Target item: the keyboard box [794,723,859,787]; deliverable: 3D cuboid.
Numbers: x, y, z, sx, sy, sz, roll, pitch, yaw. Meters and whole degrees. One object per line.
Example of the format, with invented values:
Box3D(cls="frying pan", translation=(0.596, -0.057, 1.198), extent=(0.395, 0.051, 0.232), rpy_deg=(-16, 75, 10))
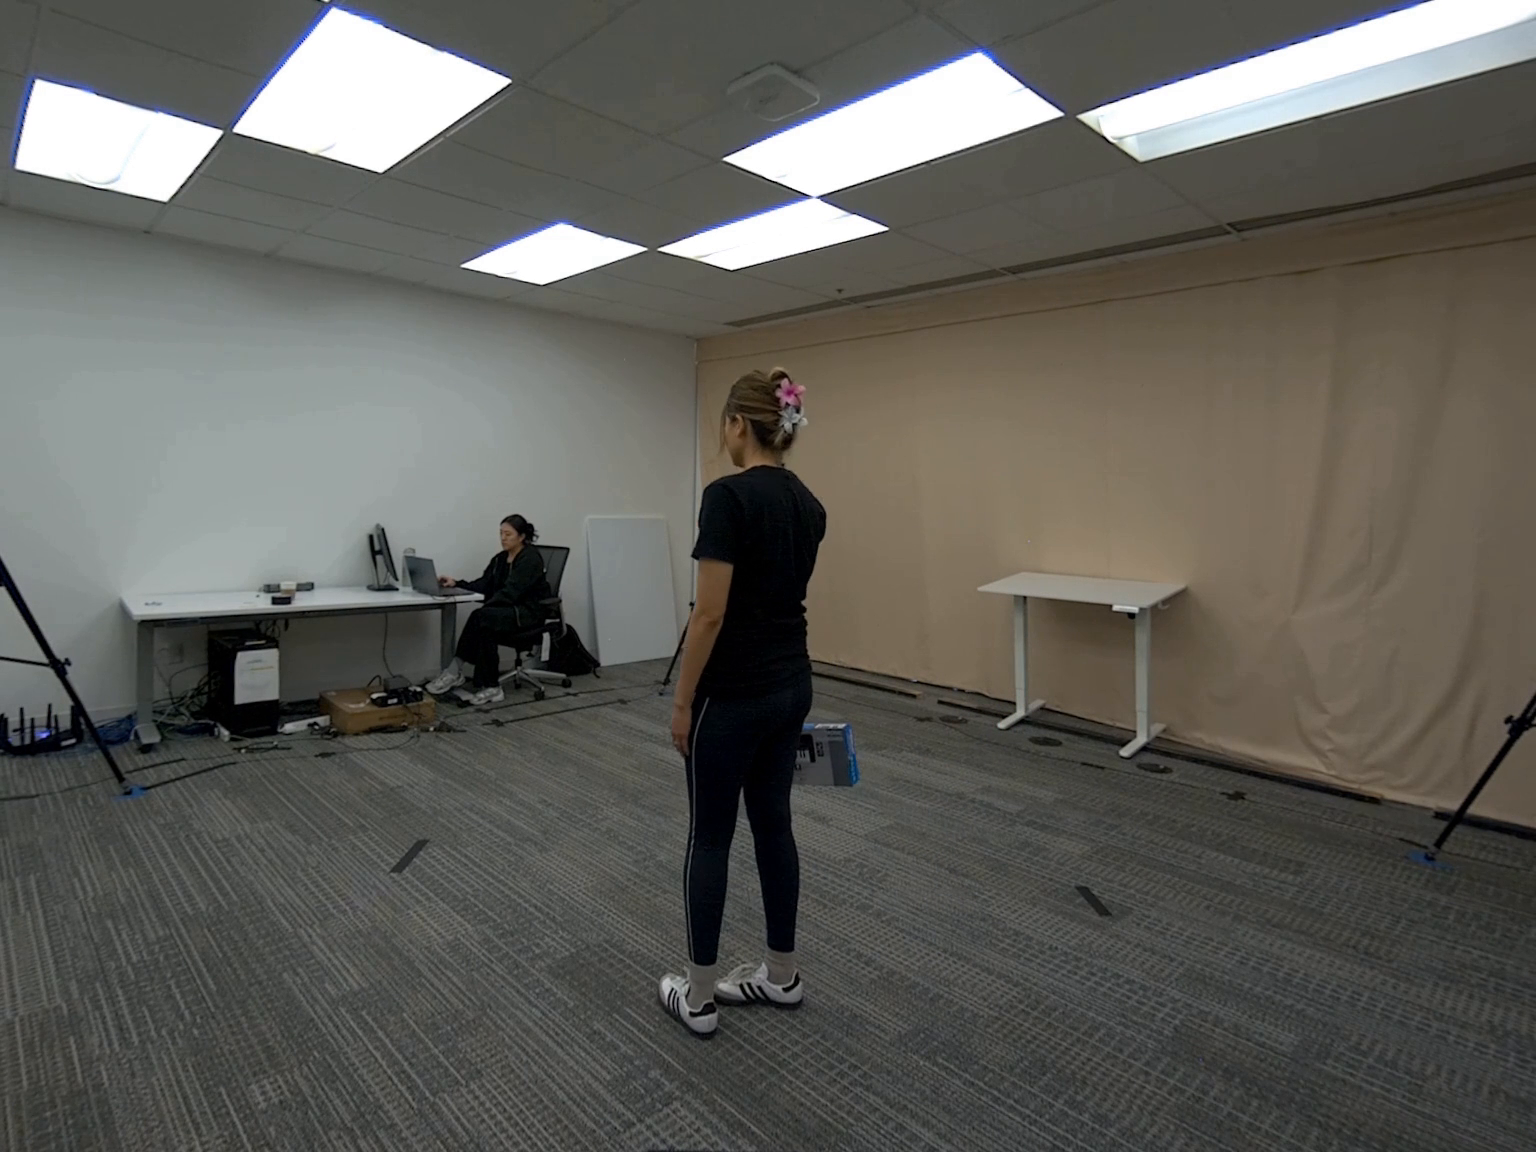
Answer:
Box3D(cls="keyboard box", translation=(0.044, 0.544, 2.543), extent=(0.444, 0.175, 0.058), rpy_deg=(-6, 3, 28))
